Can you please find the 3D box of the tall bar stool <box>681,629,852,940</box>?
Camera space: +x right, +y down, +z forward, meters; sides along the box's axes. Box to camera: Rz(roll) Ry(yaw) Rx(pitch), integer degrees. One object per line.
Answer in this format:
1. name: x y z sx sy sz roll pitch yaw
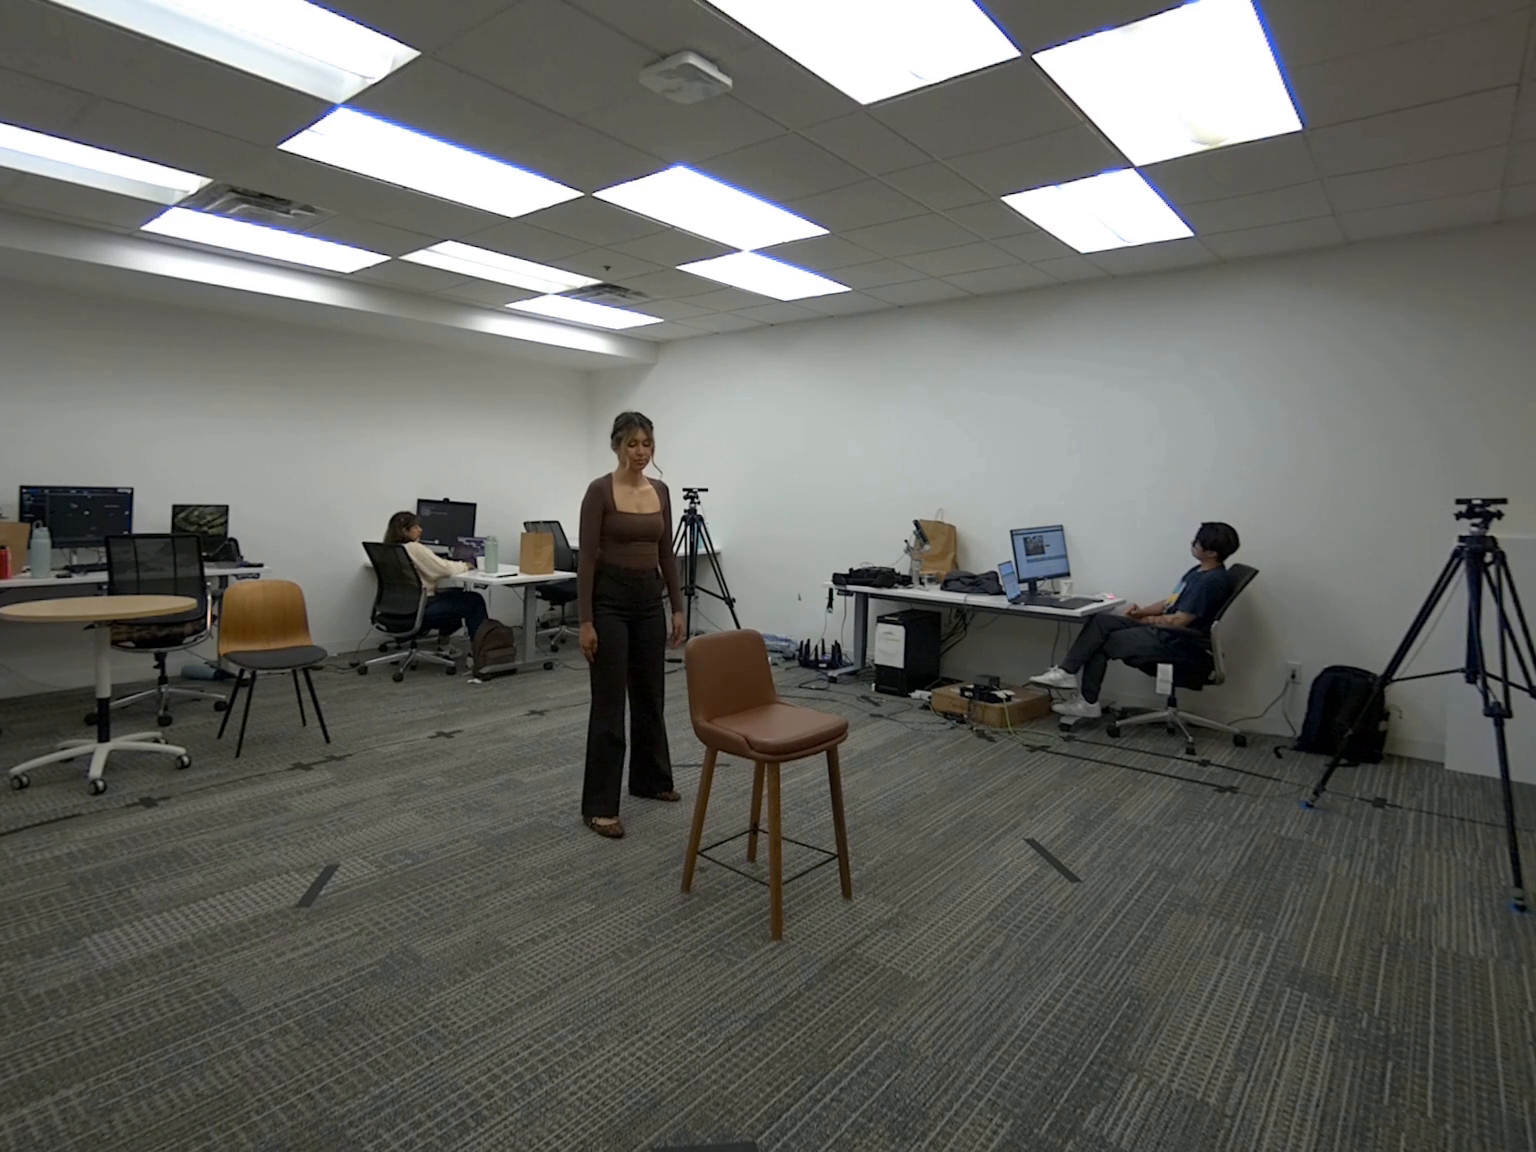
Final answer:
1. tall bar stool: -0.012 0.659 2.903 0.483 0.888 0.442 1 2 41
